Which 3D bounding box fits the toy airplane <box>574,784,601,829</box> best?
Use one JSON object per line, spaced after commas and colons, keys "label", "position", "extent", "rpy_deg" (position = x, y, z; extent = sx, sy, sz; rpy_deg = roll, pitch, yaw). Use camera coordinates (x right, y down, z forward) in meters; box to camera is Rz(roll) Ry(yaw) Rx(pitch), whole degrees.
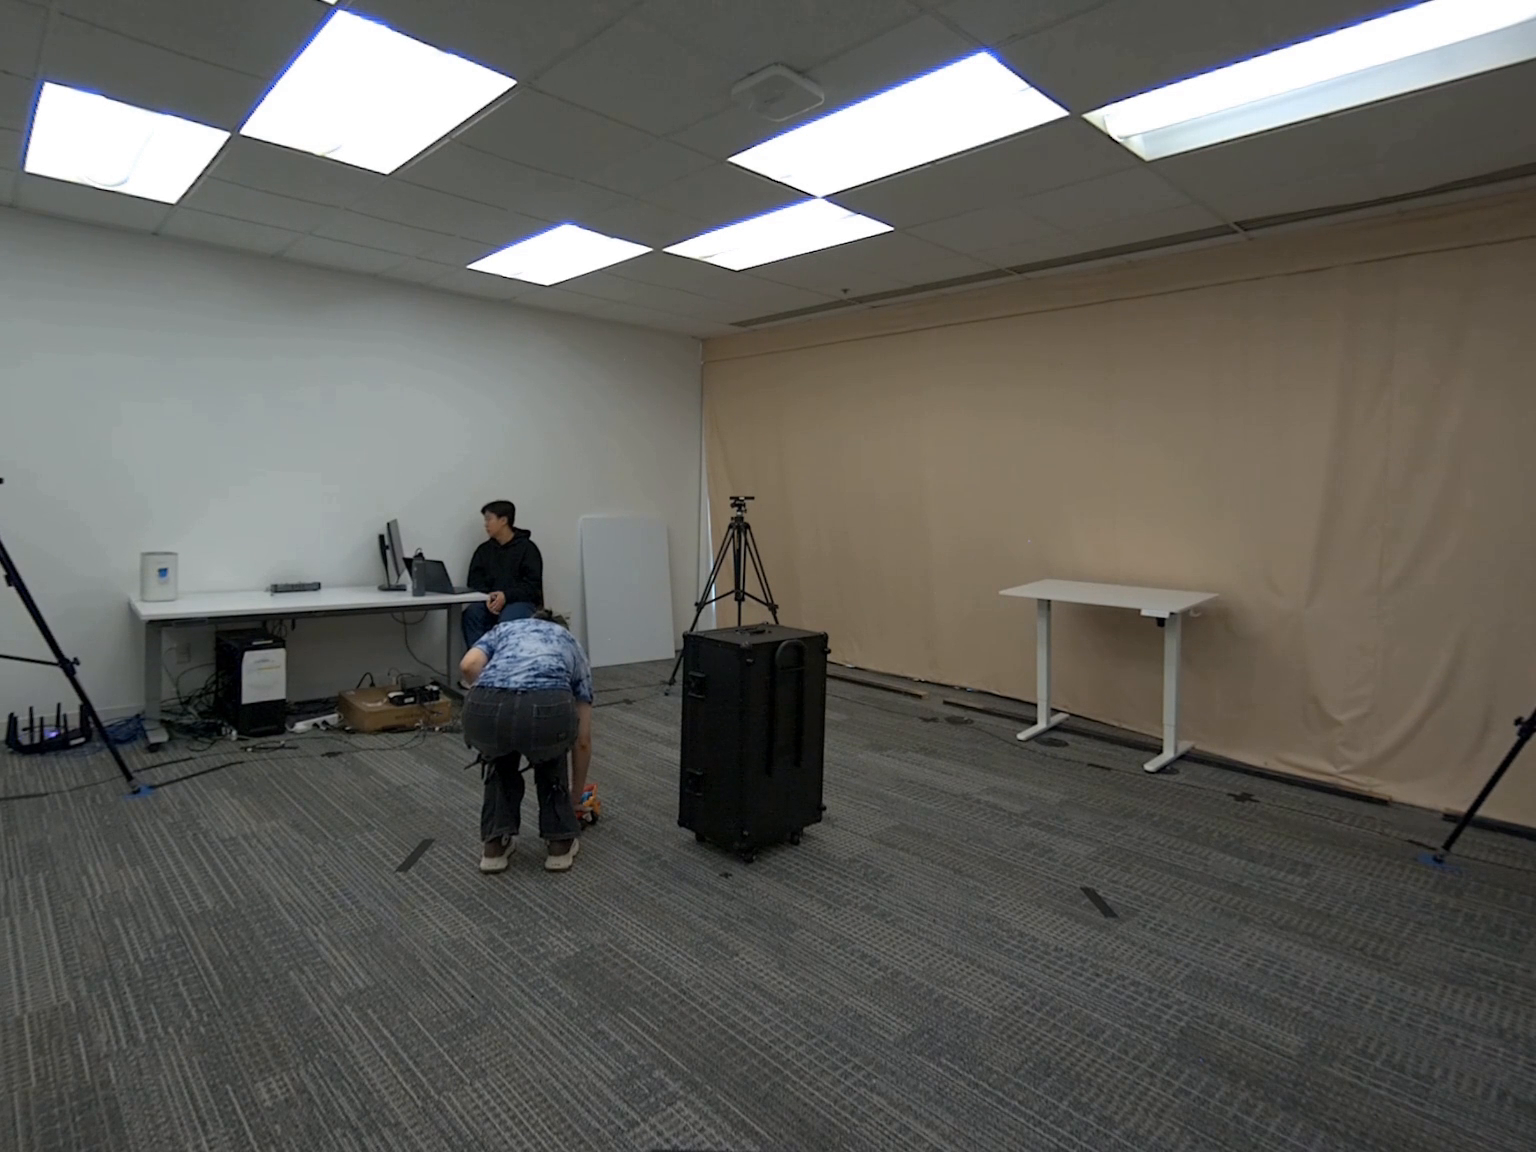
{"label": "toy airplane", "position": [-0.846, 0.971, 3.547], "extent": [0.259, 0.156, 0.252], "rpy_deg": [3, 6, -2]}
